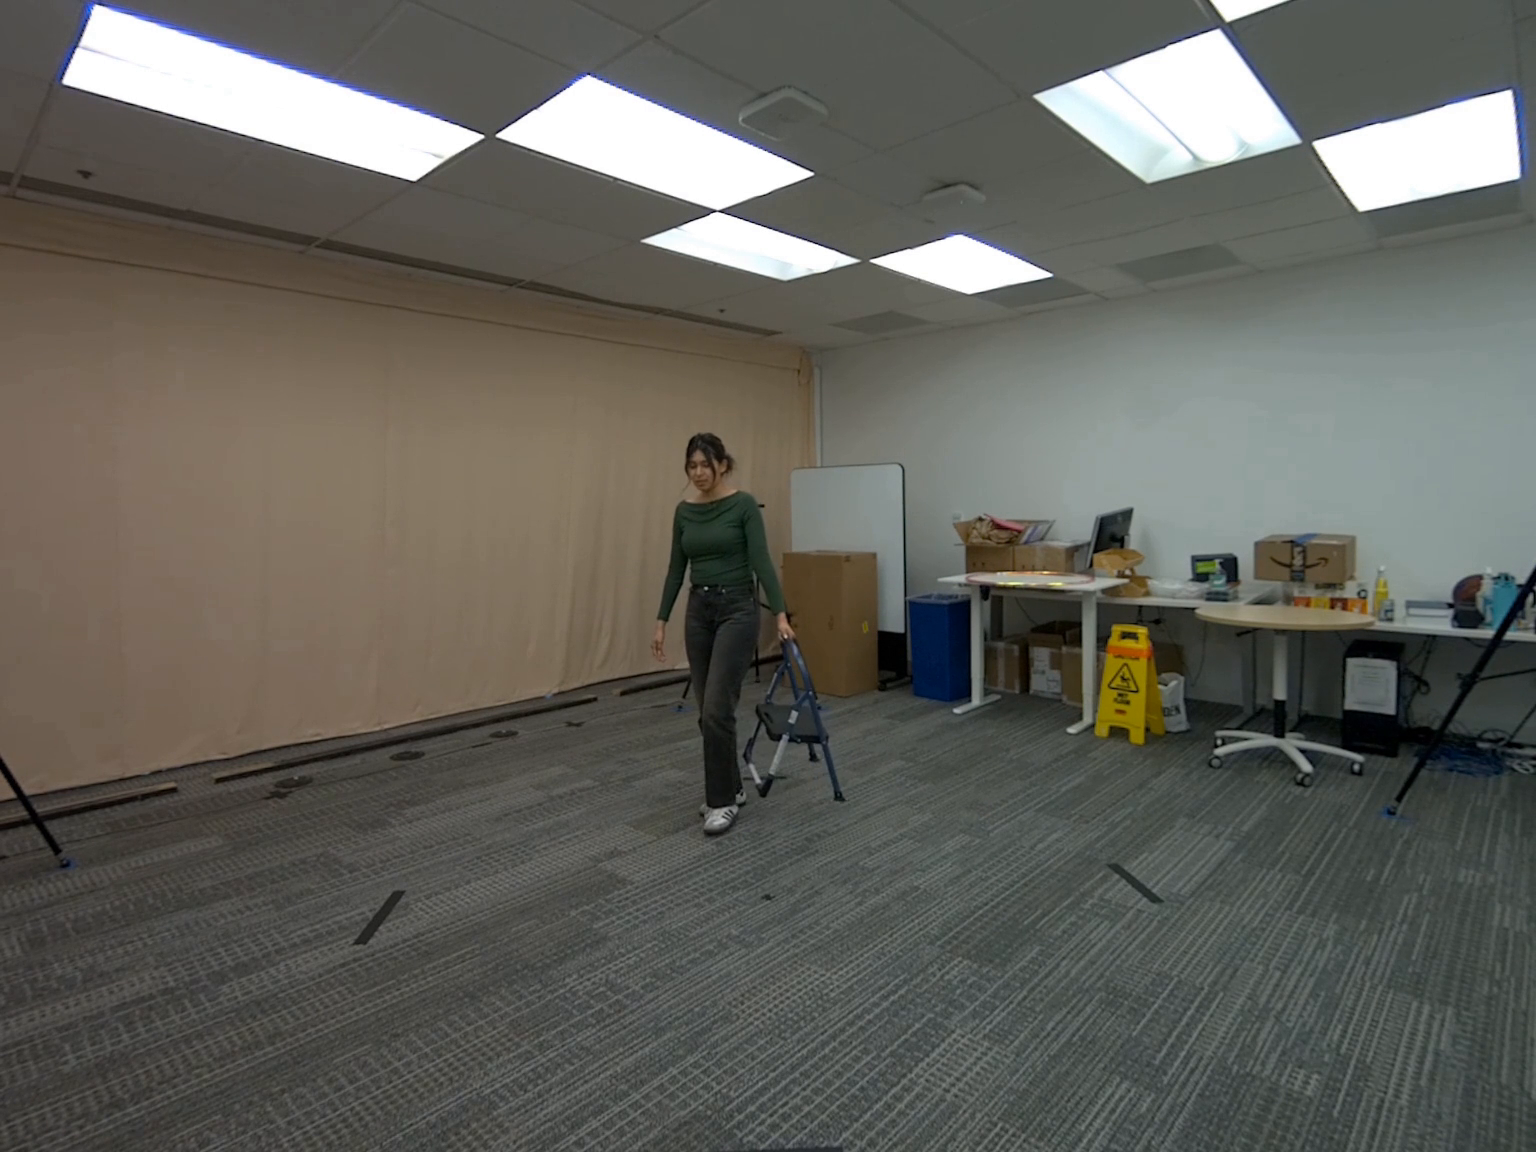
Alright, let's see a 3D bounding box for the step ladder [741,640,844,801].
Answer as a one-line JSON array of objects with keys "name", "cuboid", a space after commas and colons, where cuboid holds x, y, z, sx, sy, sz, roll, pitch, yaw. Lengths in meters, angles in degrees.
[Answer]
[{"name": "step ladder", "cuboid": [0.137, 0.565, 3.514, 0.345, 0.603, 0.437, 4, 9, -11]}]
